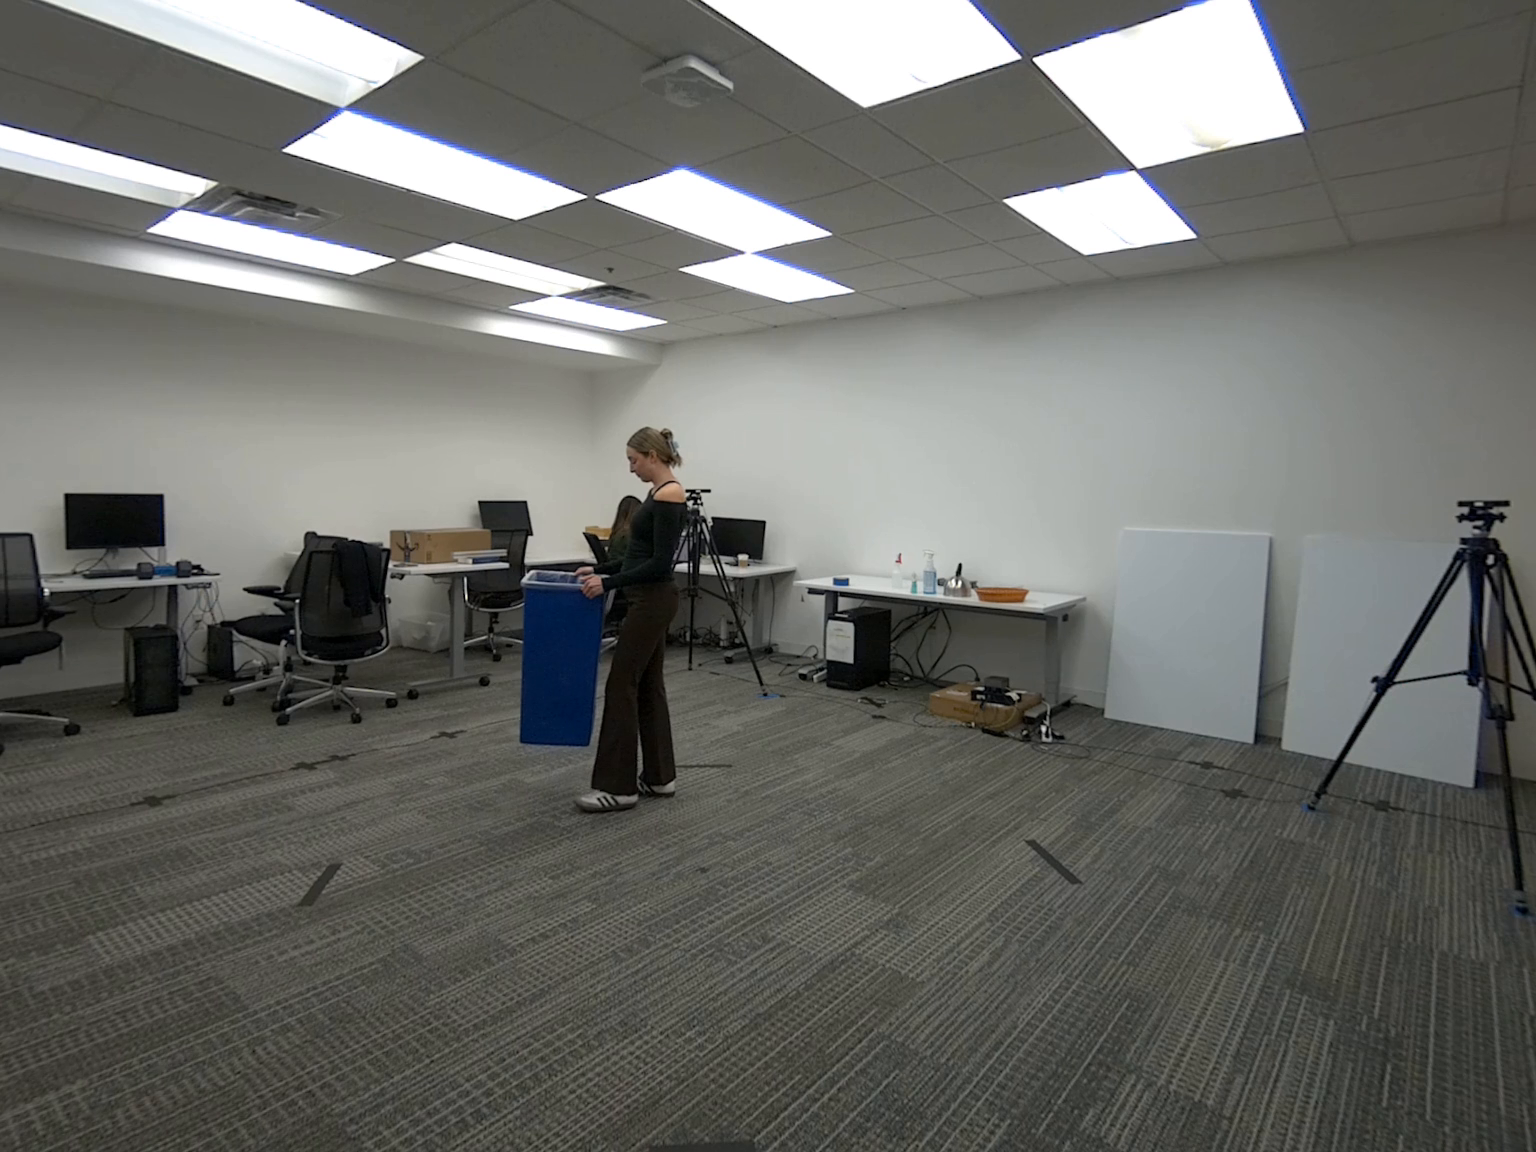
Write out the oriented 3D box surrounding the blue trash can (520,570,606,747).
[{"bbox_3d":[-0.937,0.364,3.801,0.374,0.711,0.379,3,5,-9],"label":"blue trash can"}]
